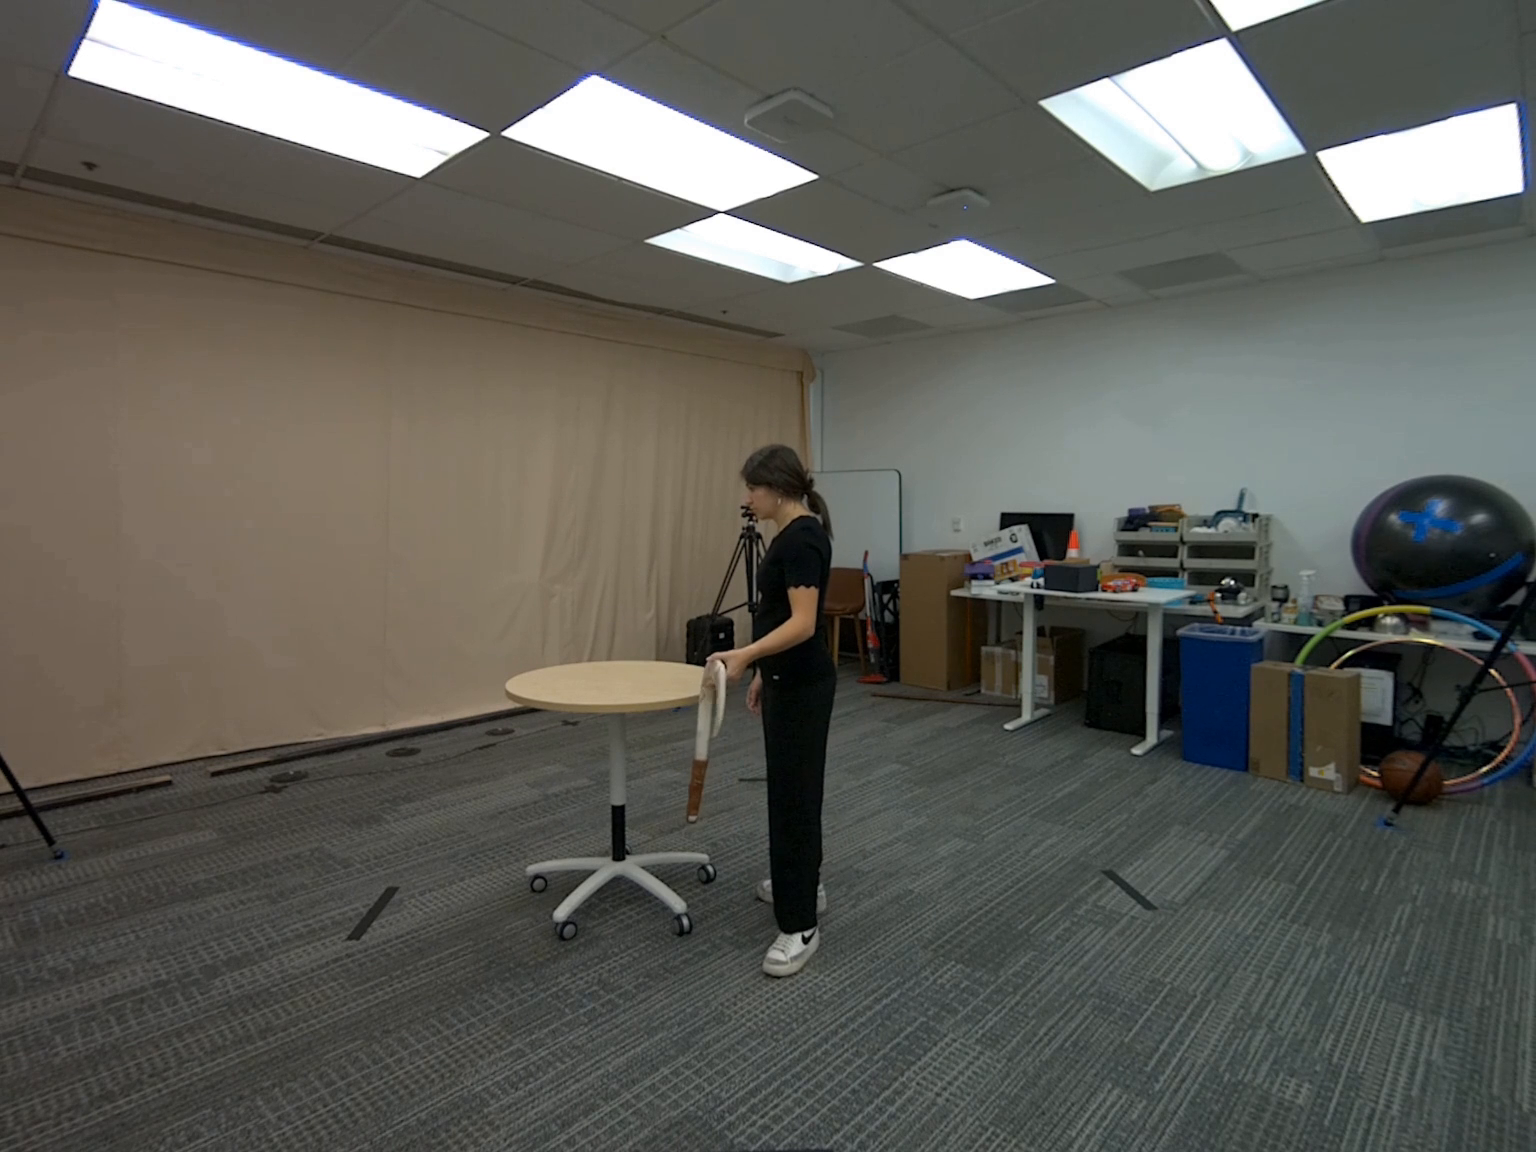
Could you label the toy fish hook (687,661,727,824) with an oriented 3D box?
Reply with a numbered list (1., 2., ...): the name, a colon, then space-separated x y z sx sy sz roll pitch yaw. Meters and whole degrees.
1. toy fish hook: -0.175 0.485 2.391 0.048 0.505 0.228 6 7 -12
